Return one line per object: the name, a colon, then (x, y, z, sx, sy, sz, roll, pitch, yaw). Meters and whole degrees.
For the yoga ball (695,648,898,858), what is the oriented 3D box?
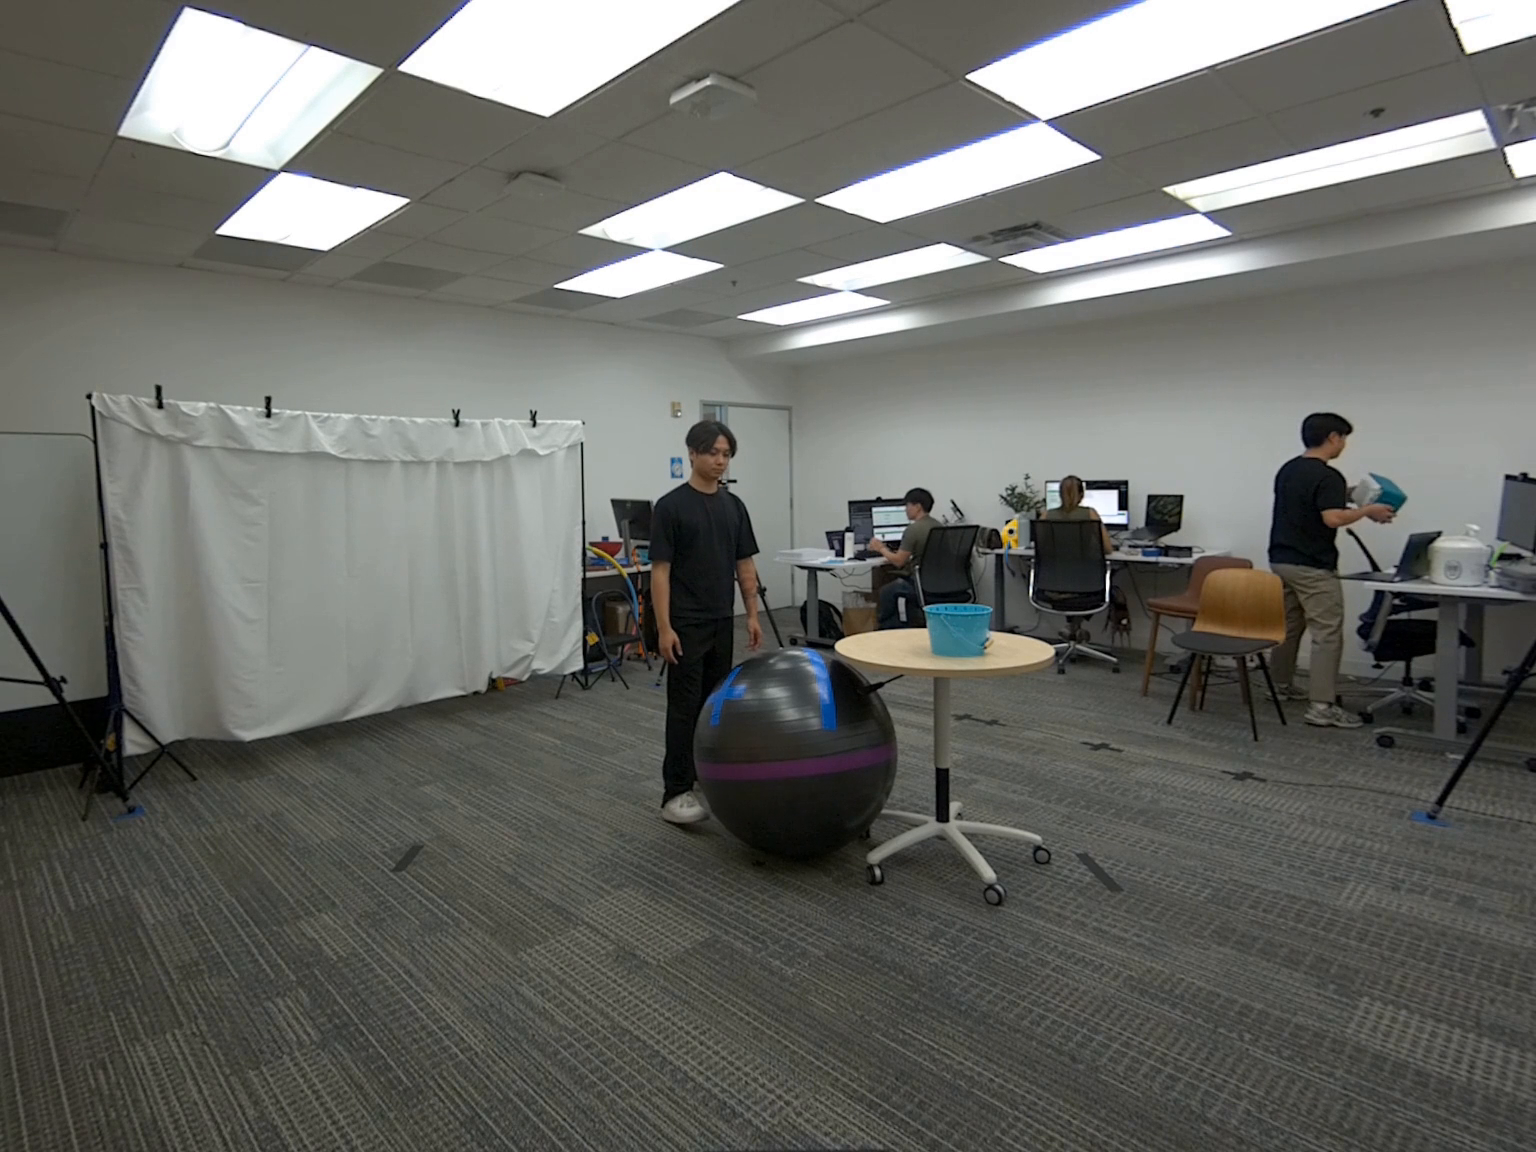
yoga ball: (0.098, 0.658, 3.216, 0.757, 0.755, 0.762, -1, 5, -2)
